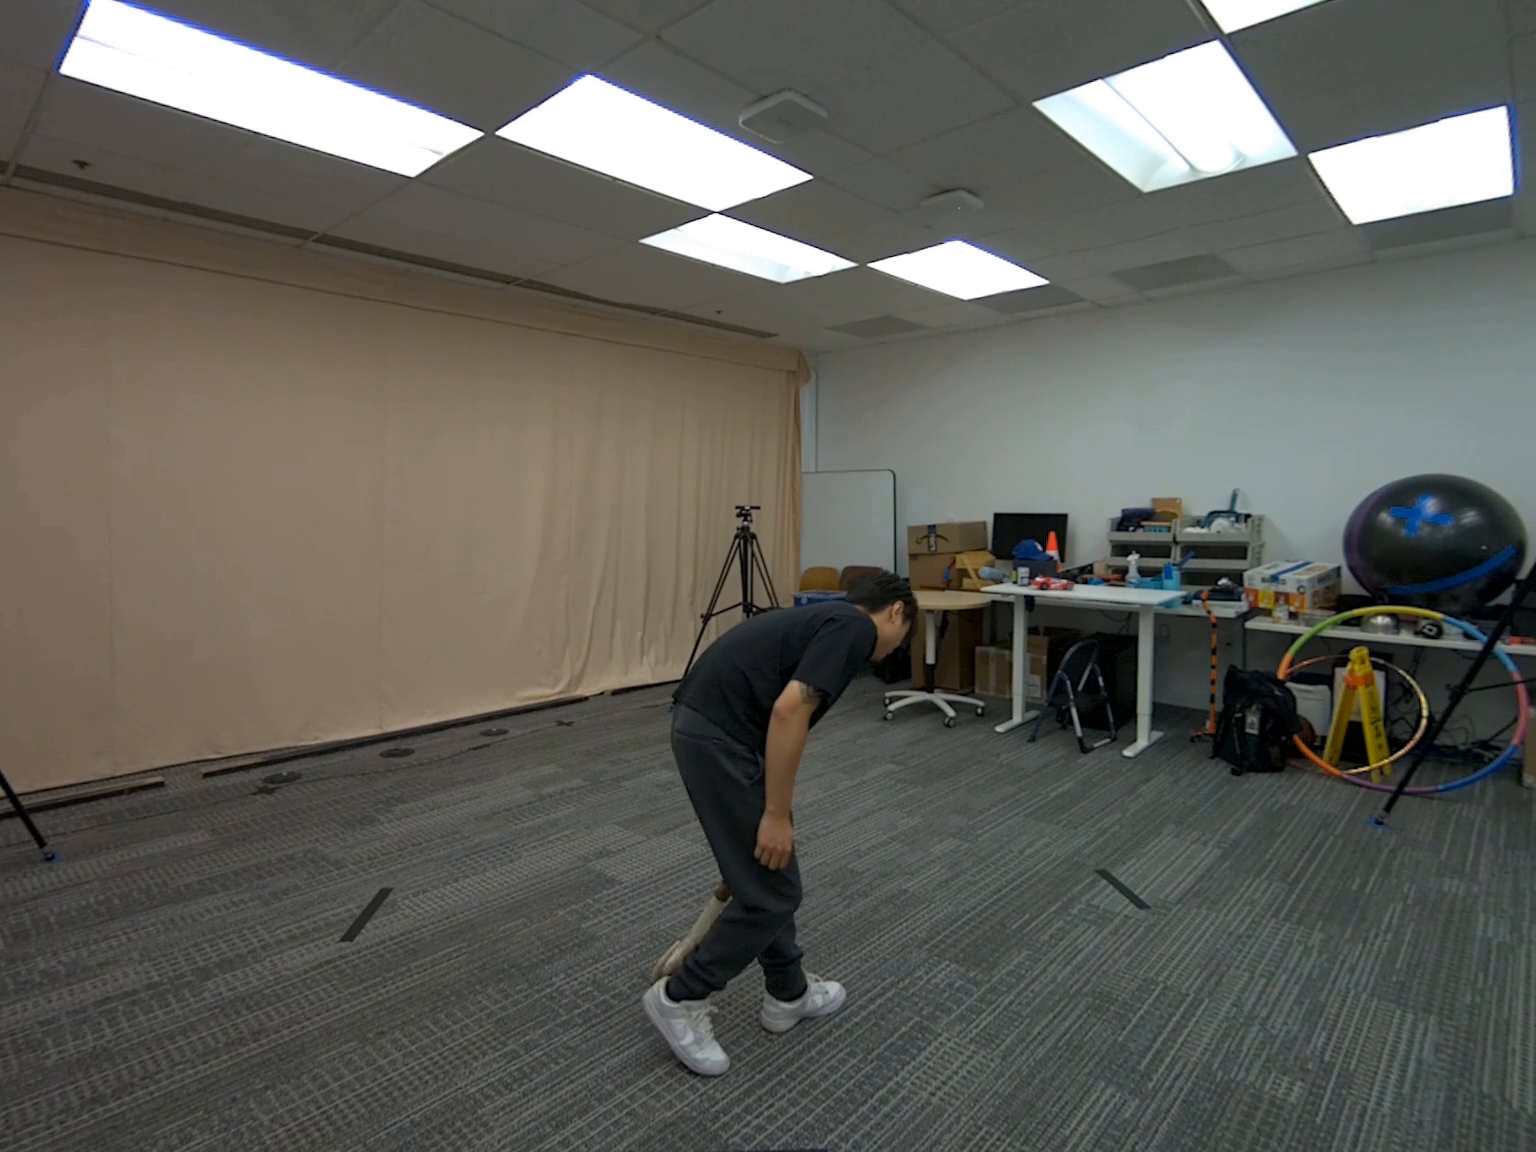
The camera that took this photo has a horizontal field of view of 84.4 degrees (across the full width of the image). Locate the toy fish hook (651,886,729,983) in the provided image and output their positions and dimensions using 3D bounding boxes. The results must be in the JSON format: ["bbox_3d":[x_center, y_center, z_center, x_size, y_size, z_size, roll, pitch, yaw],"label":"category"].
[{"bbox_3d":[-0.189,0.983,2.424,0.049,0.507,0.219,37,13,16],"label":"toy fish hook"}]
